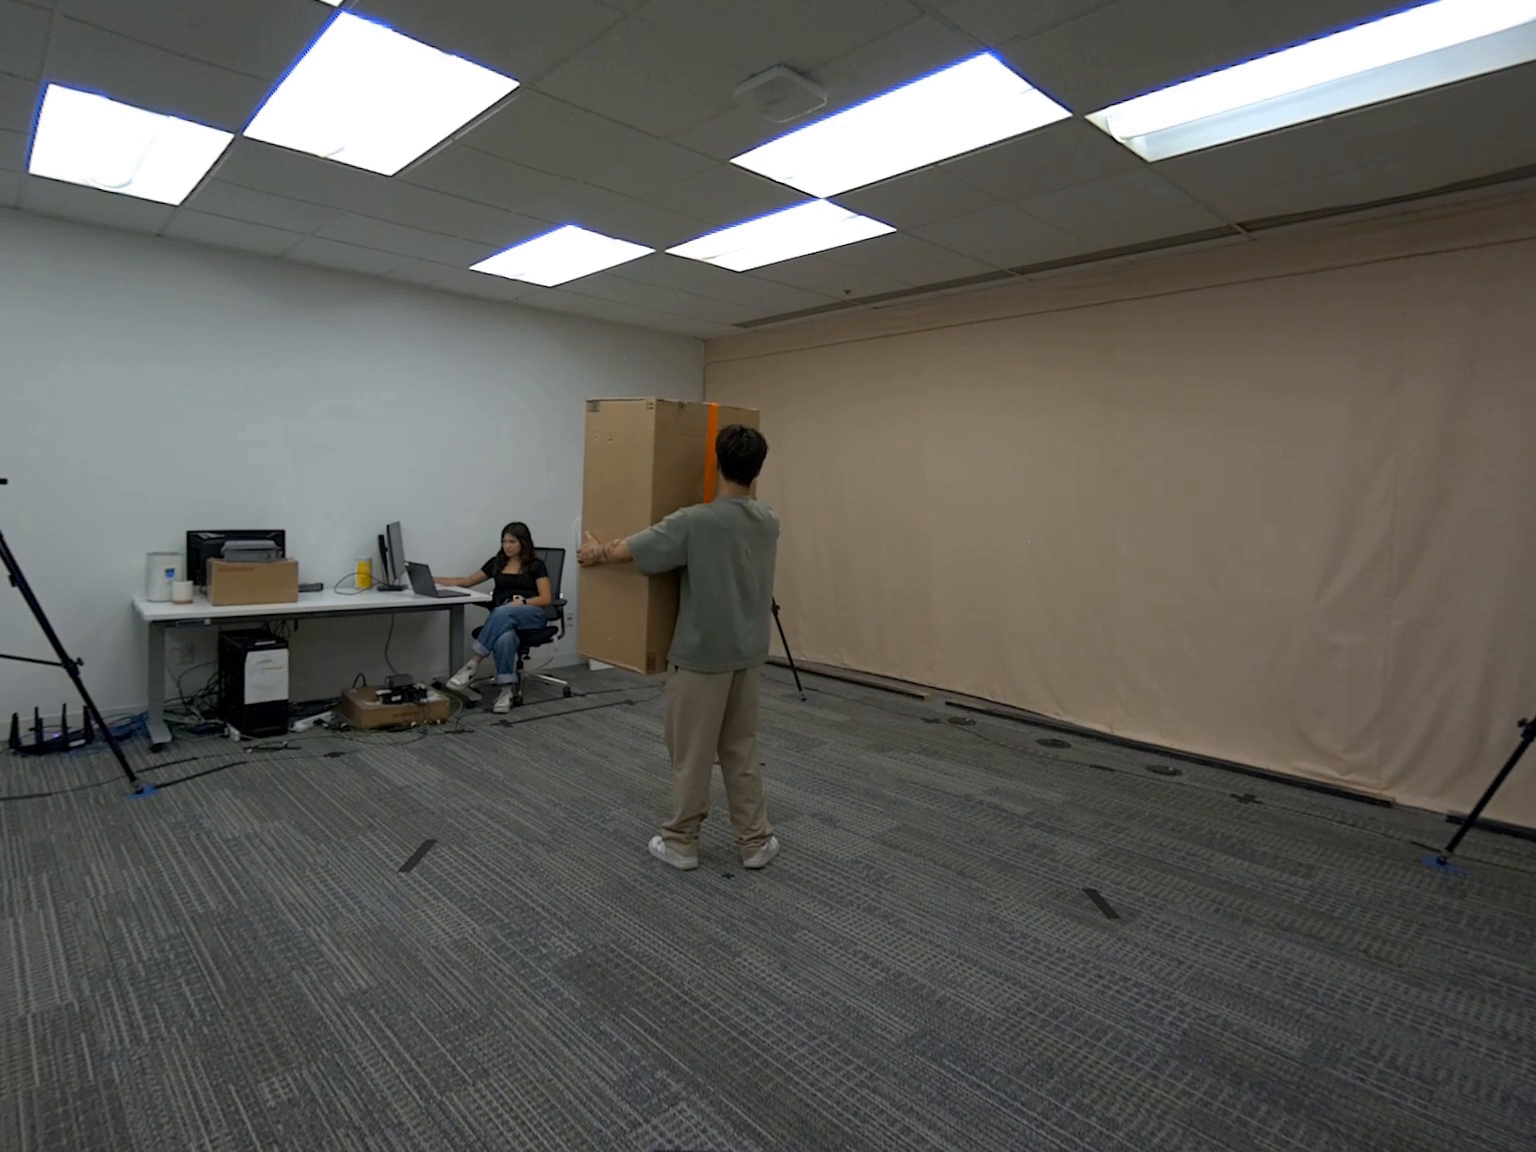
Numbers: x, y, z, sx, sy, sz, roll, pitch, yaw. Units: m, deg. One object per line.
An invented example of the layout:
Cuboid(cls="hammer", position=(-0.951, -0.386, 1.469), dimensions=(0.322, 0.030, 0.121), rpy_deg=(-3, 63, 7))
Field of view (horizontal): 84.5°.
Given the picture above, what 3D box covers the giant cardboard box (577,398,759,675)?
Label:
Cuboid(cls="giant cardboard box", position=(-0.403, -0.181, 3.414), dimensions=(0.437, 1.022, 0.564), rpy_deg=(8, 8, 42))
